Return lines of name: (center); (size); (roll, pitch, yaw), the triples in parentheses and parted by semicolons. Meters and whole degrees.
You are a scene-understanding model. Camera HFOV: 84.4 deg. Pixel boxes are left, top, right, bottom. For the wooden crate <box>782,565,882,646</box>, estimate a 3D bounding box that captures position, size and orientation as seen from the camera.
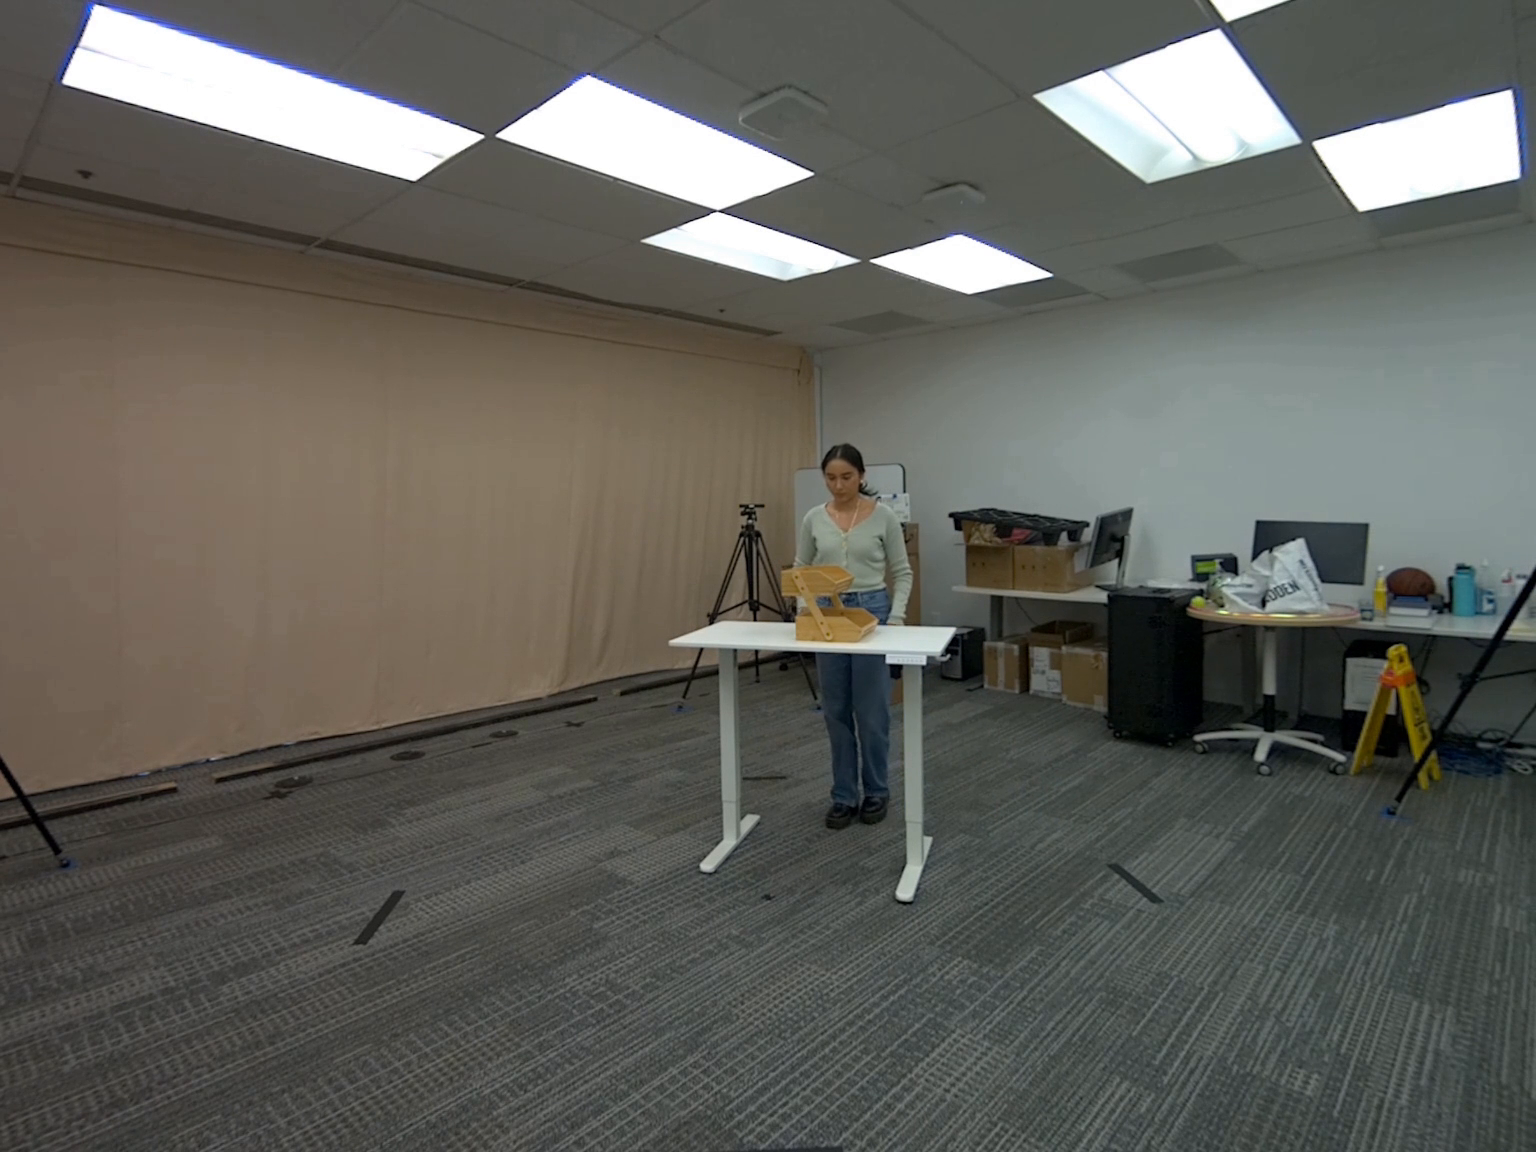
wooden crate: (0.247, 0.097, 3.214); (0.308, 0.273, 0.318); (-1, 4, 19)
